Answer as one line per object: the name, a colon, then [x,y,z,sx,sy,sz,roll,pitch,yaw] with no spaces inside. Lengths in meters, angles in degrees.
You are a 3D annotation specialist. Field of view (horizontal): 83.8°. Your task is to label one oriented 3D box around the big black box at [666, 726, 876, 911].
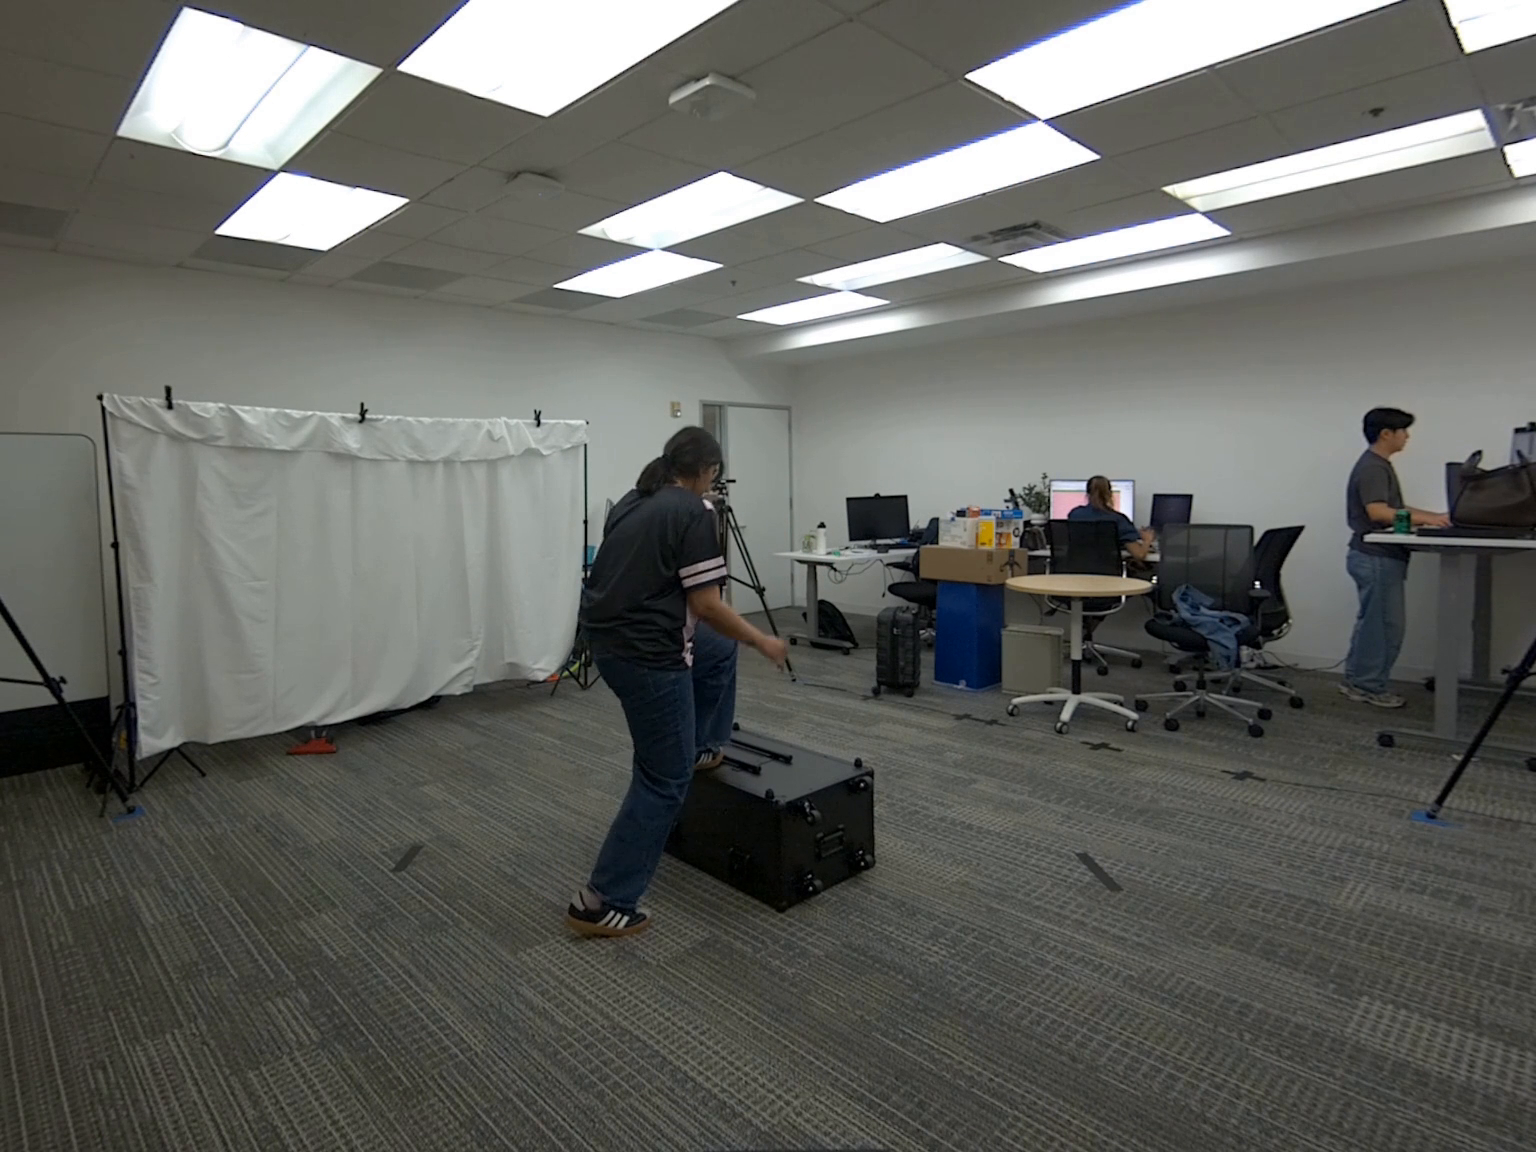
big black box: [-0.030,0.854,3.170,0.509,0.384,0.895,-4,7,-43]
